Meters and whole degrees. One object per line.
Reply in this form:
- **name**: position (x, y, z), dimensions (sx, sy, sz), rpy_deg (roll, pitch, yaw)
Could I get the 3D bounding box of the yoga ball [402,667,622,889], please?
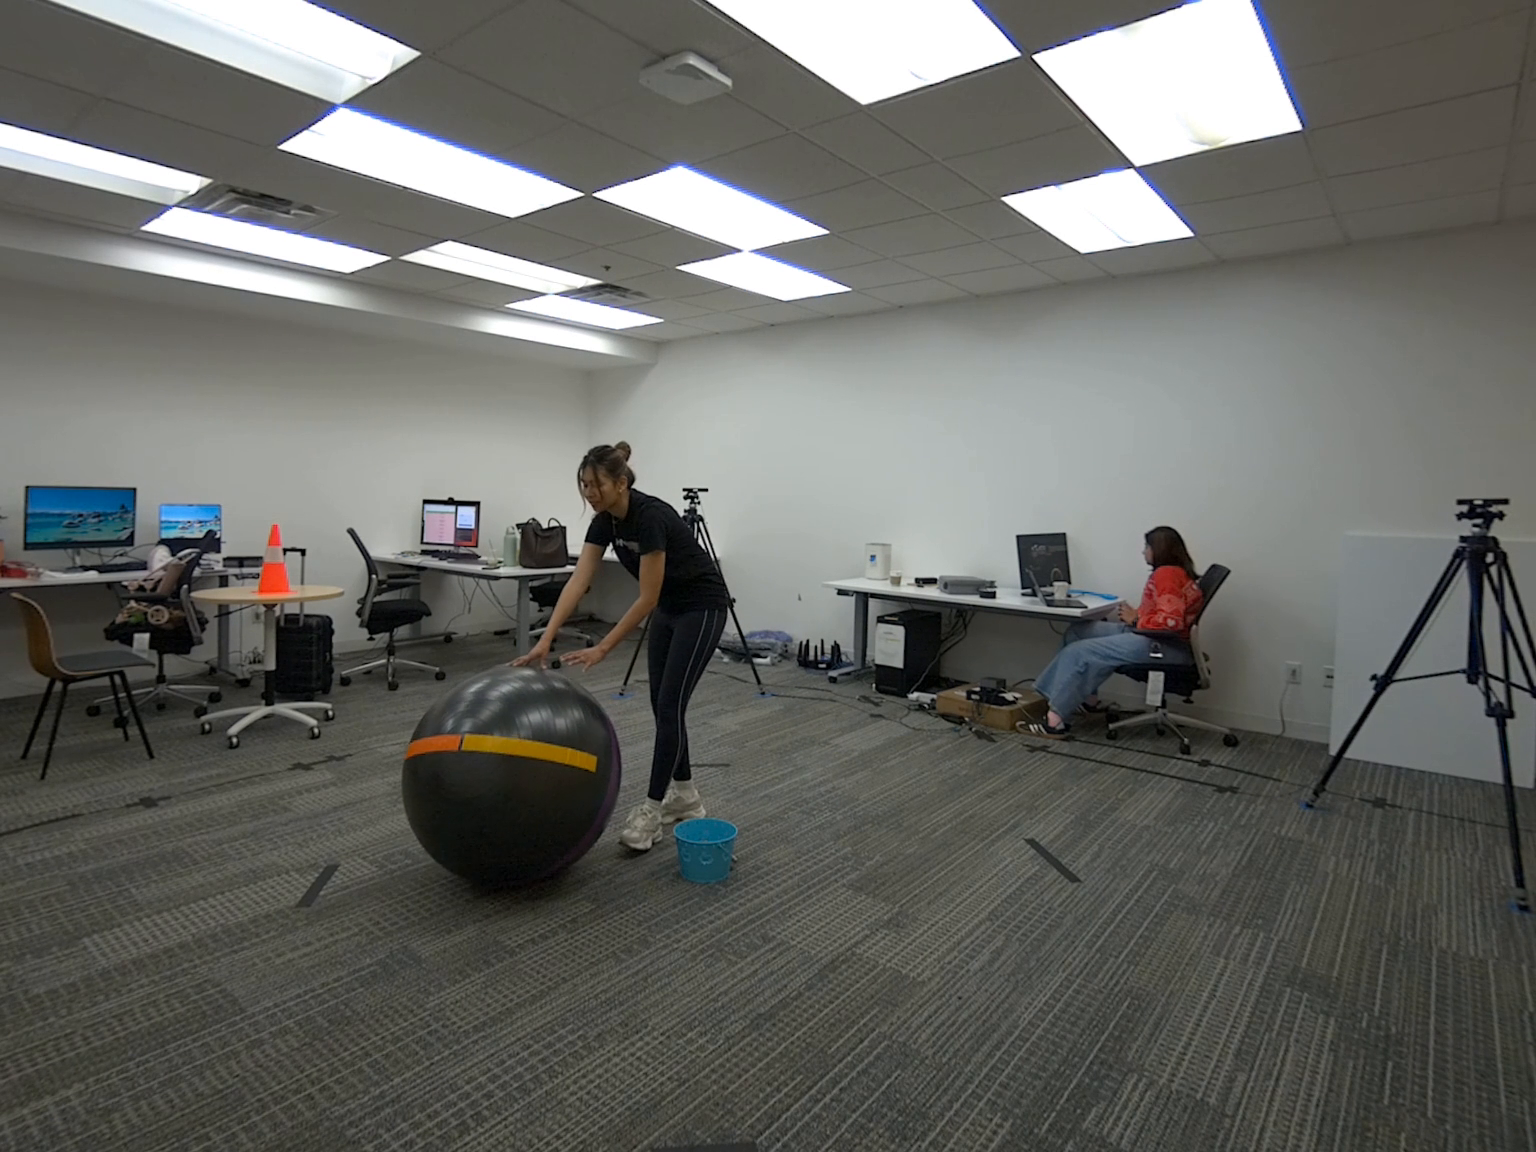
- **yoga ball**: position (-0.914, 0.707, 3.023), dimensions (0.757, 0.755, 0.762), rpy_deg (1, 4, -2)
